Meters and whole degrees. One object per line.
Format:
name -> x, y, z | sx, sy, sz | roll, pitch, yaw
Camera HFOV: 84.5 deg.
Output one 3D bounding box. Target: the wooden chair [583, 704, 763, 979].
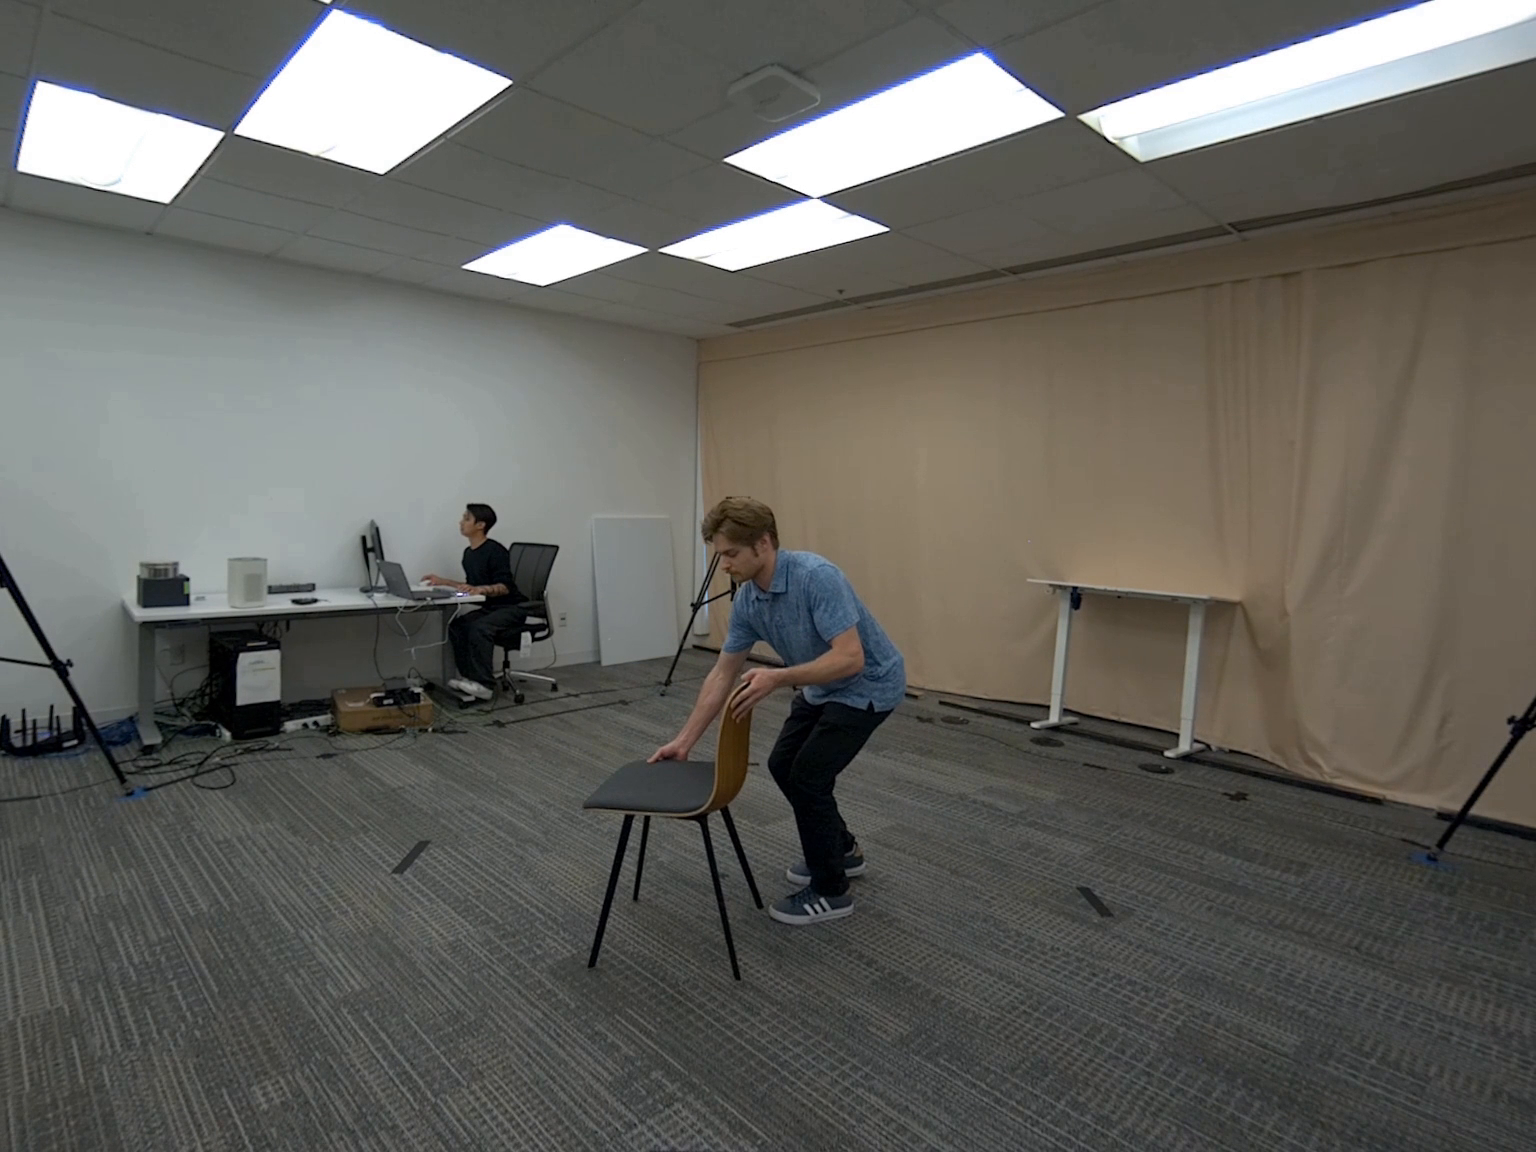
wooden chair -> -0.297, 0.708, 2.622 | 0.528, 0.875, 0.475 | 3, 4, 10
